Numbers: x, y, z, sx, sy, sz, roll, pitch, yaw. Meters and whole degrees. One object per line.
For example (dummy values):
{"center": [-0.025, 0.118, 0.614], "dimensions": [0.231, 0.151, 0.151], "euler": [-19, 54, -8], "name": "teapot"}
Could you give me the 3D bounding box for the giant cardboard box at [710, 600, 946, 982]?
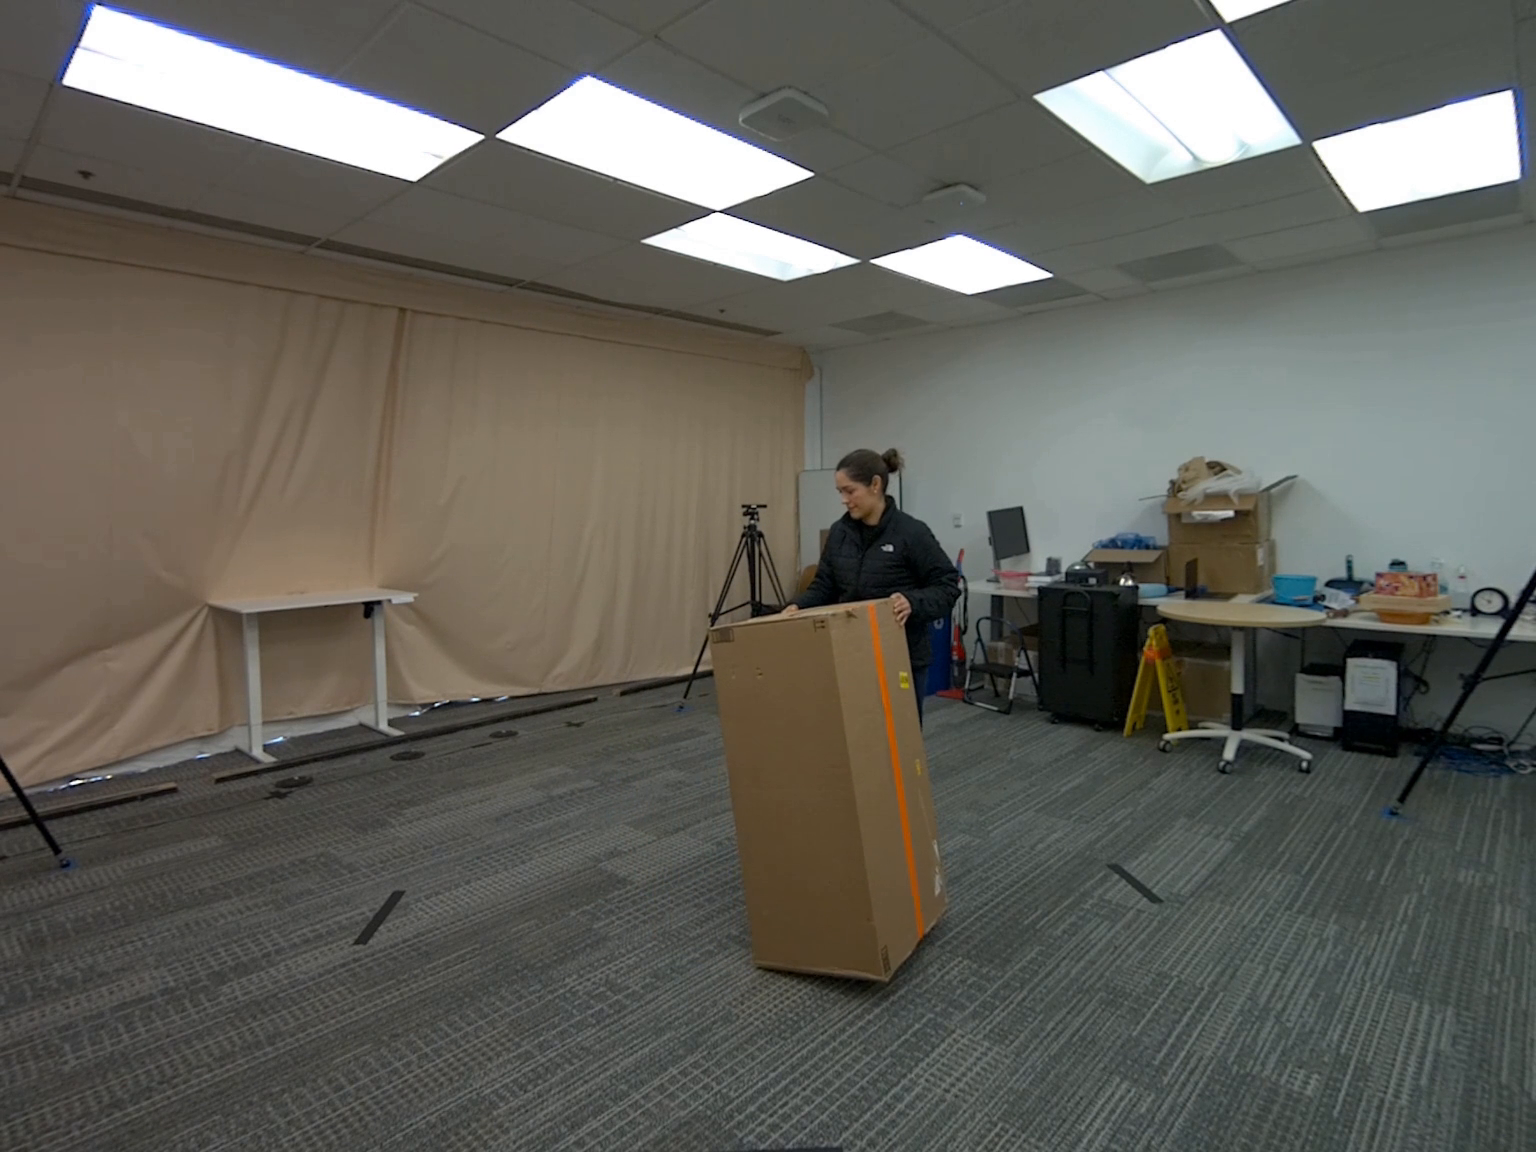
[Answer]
{"center": [0.216, 0.624, 2.689], "dimensions": [0.437, 1.029, 0.562], "euler": [-11, -4, 30], "name": "giant cardboard box"}
